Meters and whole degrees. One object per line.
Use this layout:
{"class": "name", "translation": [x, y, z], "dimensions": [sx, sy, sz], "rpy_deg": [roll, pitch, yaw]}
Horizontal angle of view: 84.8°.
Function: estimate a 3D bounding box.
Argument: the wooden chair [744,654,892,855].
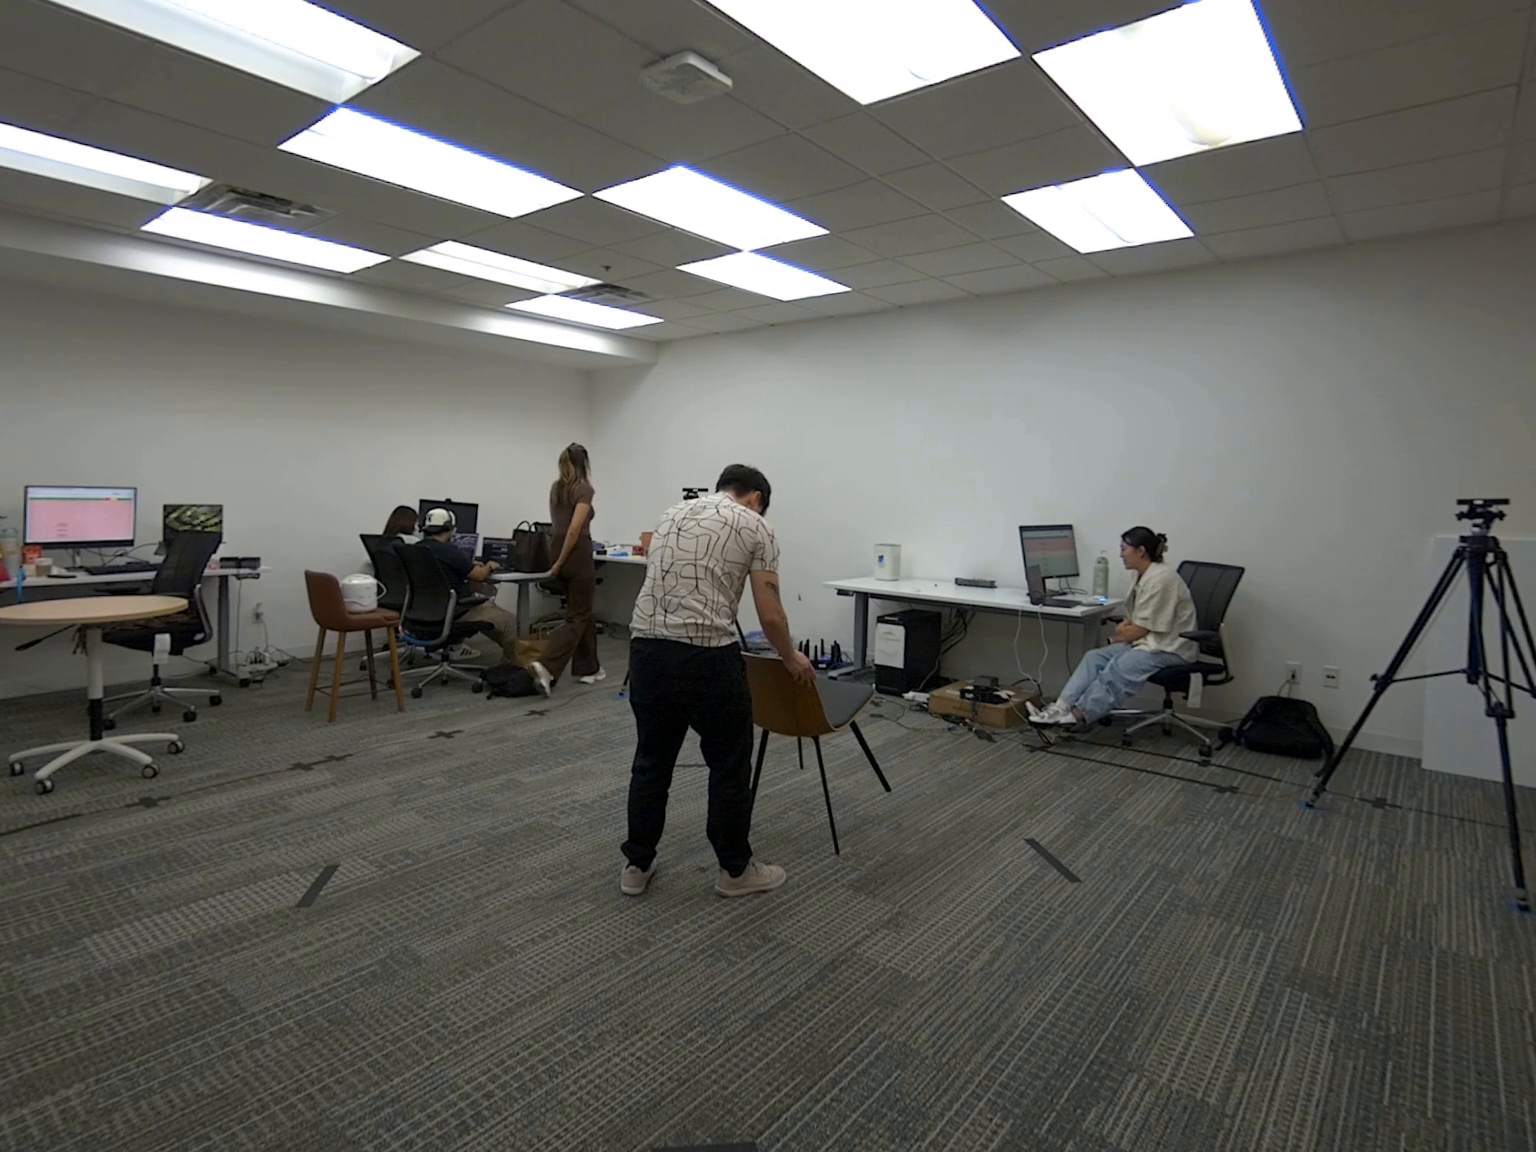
{"class": "wooden chair", "translation": [0.145, 0.568, 3.447], "dimensions": [0.494, 0.858, 0.518], "rpy_deg": [4, 26, 37]}
